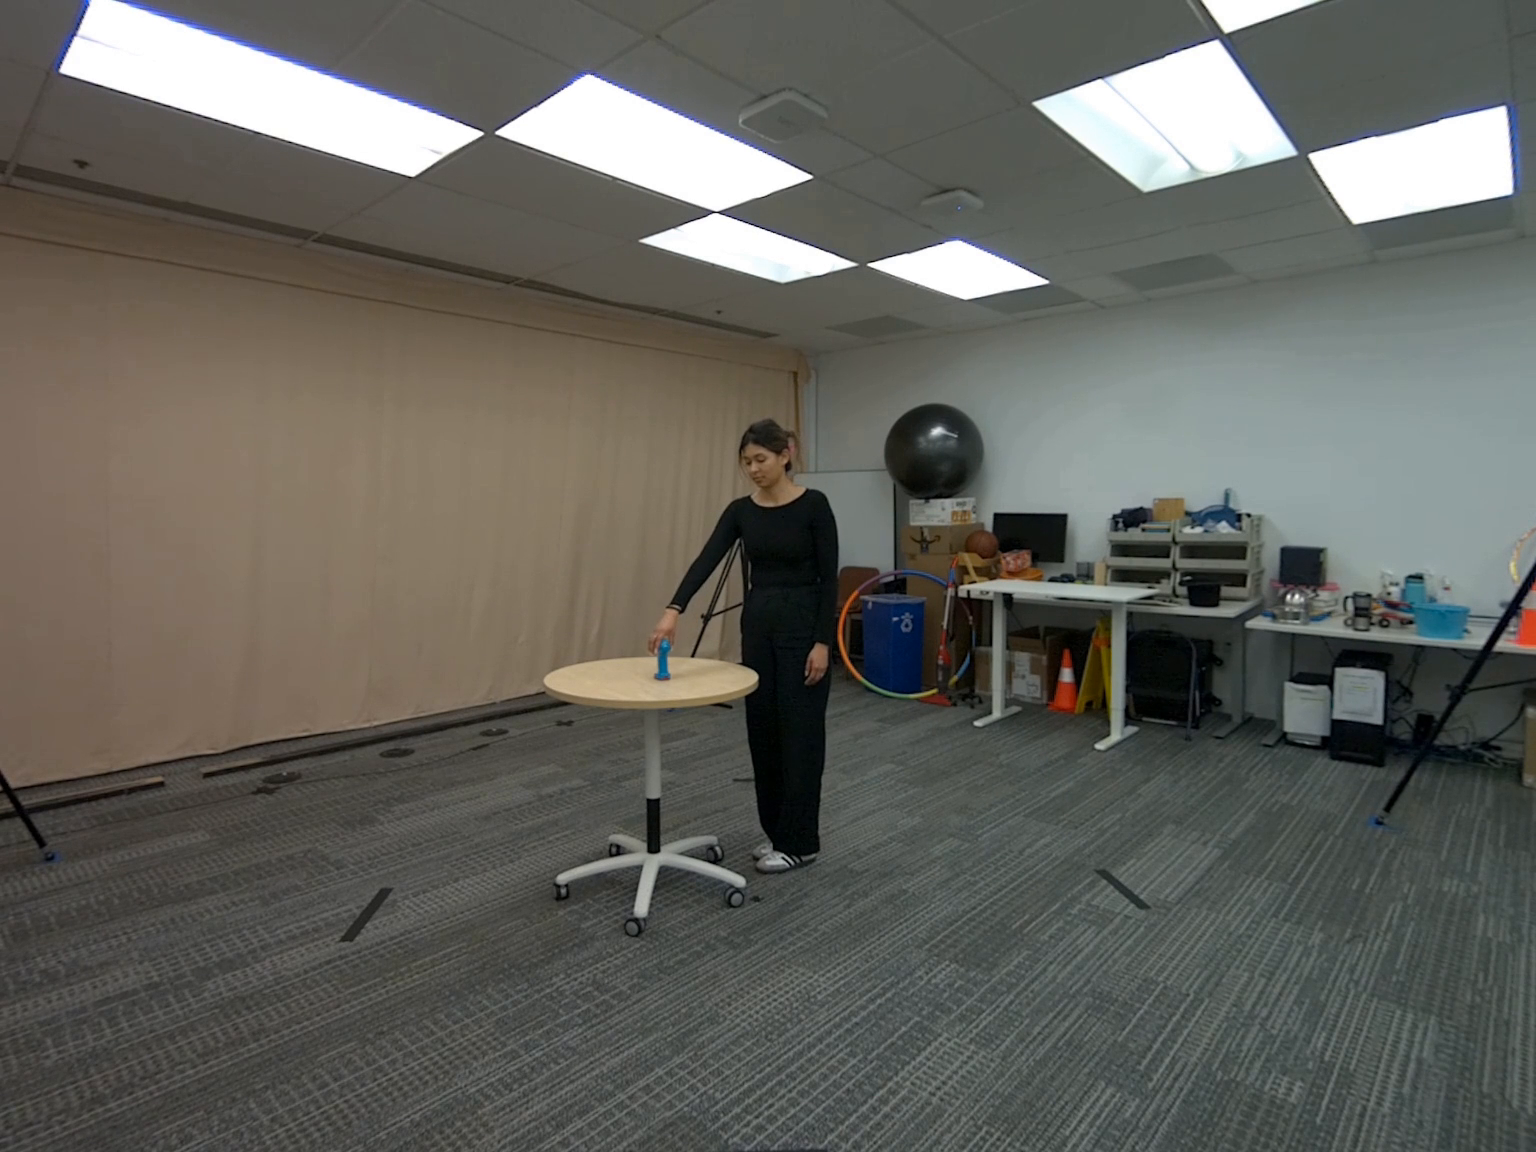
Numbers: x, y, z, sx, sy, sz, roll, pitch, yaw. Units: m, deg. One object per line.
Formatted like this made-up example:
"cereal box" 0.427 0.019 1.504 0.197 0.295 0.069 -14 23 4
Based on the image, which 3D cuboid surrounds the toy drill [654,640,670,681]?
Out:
"toy drill" -0.392 0.289 3.014 0.060 0.146 0.174 -2 4 -27
